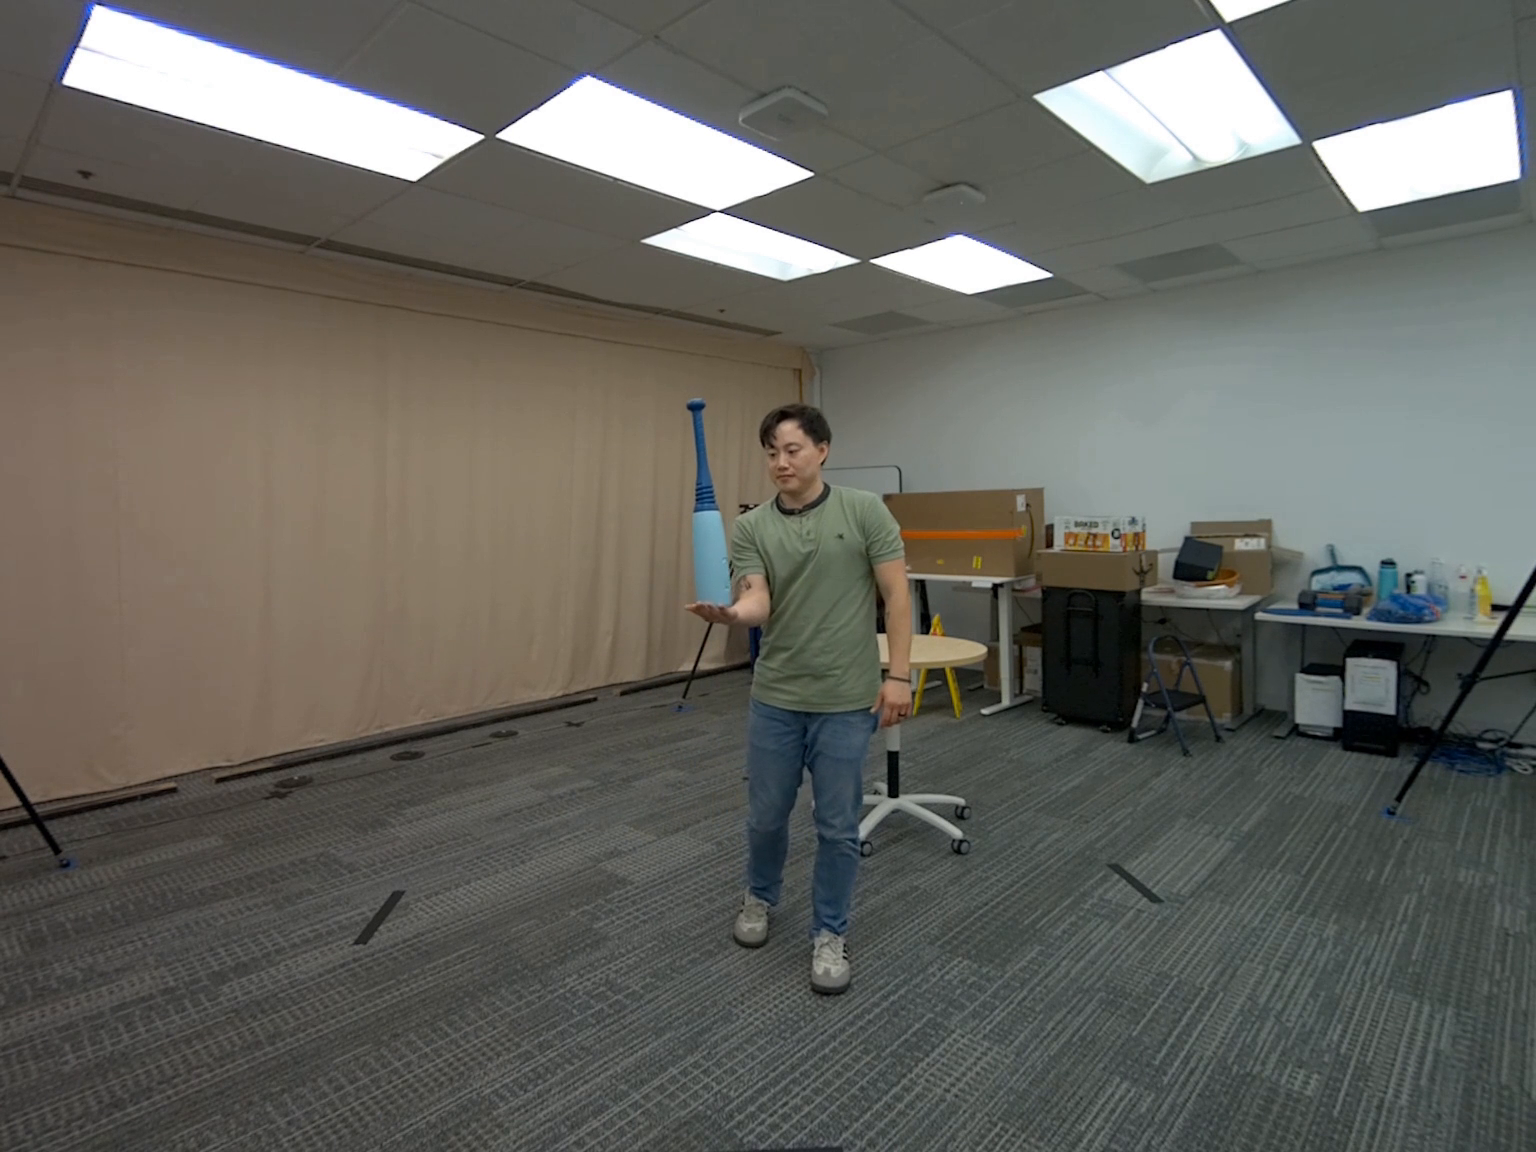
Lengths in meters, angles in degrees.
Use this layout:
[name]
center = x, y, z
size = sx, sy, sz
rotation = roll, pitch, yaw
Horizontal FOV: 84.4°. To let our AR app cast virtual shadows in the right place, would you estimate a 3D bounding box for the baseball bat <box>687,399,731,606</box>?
[baseball bat]
center = -0.155, -0.184, 2.161
size = 0.089, 0.544, 0.089
rotation = -7, -4, -2
